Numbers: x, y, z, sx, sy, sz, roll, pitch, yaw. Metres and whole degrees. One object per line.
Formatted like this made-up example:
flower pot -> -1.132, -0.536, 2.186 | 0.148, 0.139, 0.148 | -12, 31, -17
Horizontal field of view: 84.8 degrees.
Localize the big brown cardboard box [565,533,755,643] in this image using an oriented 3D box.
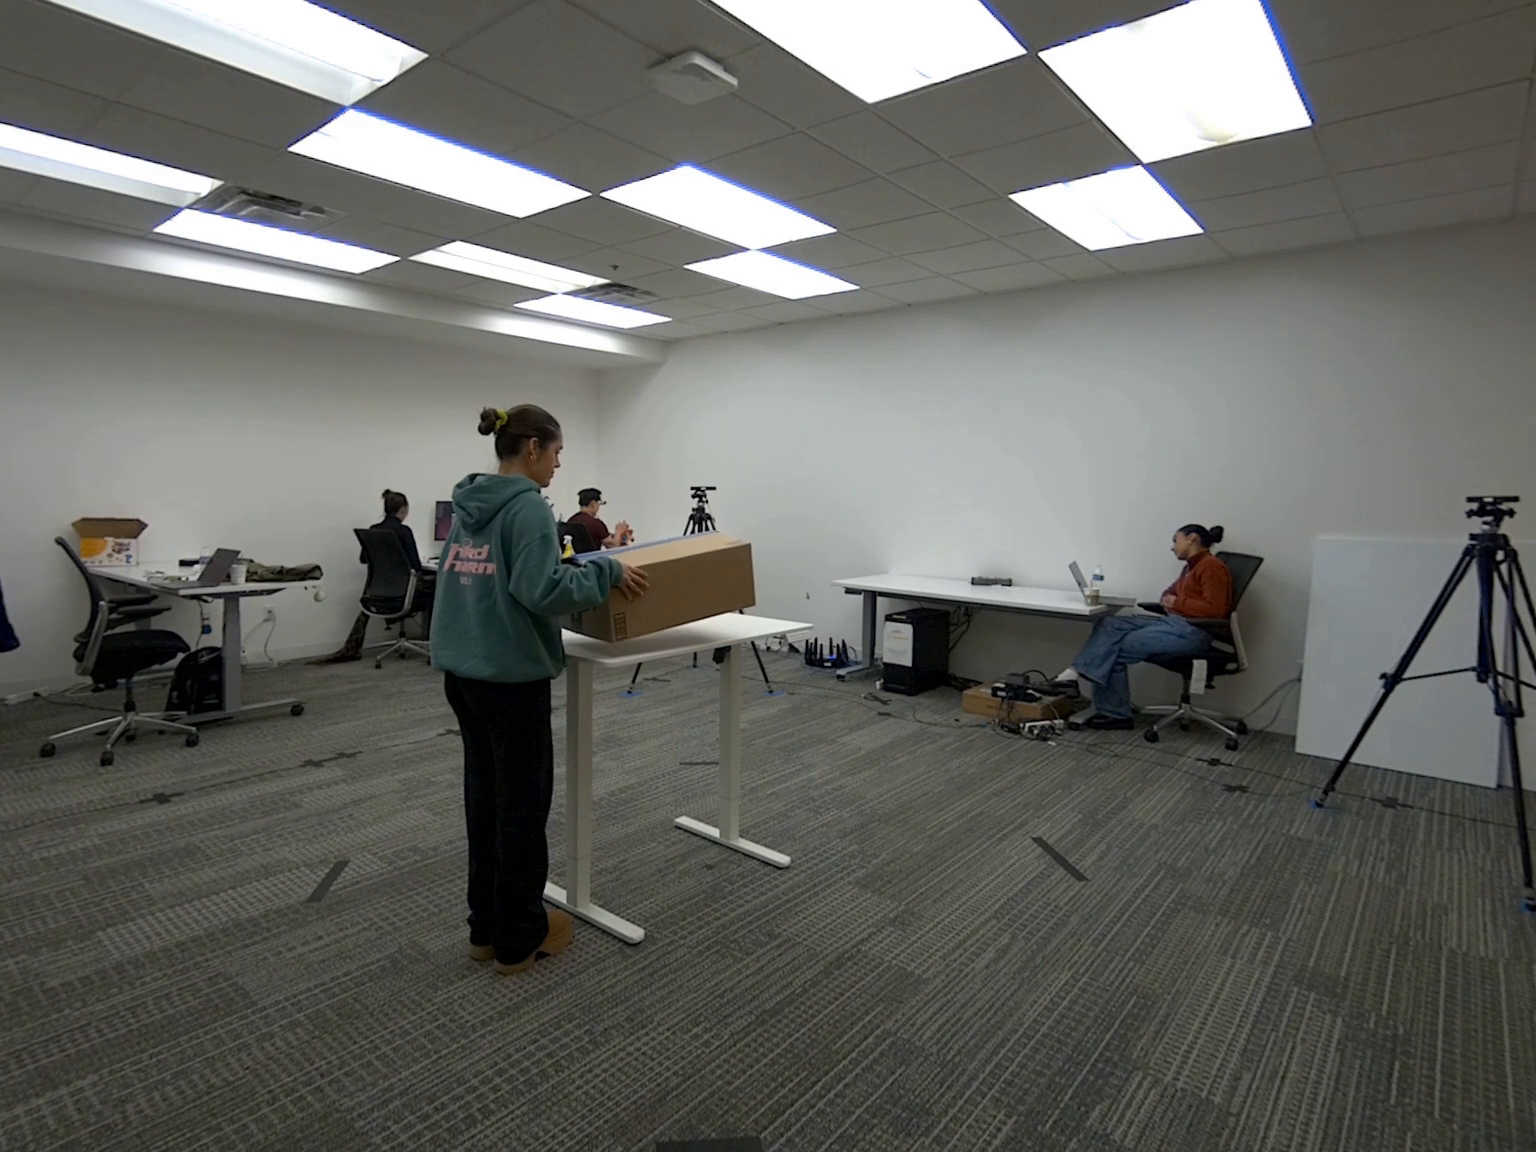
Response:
big brown cardboard box -> -0.391, 0.024, 2.803 | 0.575, 0.231, 0.432 | -14, 13, -40
